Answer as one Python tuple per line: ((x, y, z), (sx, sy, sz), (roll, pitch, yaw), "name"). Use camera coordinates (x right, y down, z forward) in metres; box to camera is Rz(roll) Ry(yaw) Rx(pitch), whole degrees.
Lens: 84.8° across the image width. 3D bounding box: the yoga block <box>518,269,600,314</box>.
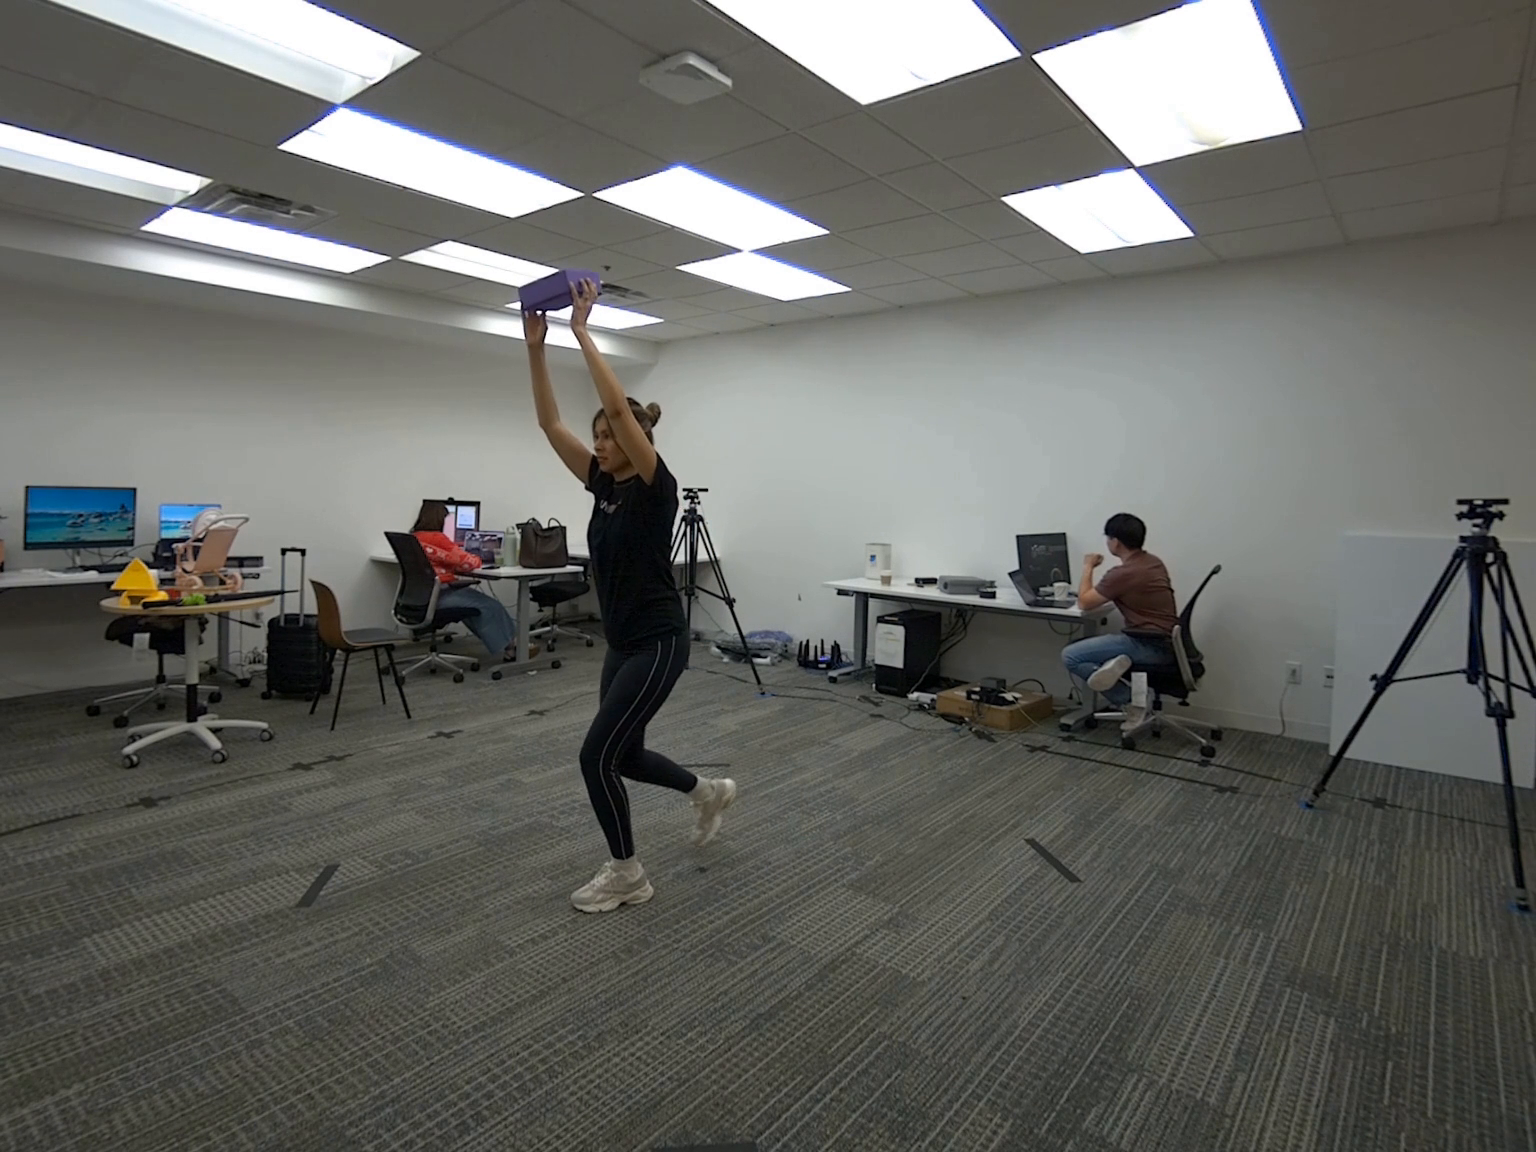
((-0.647, -0.877, 2.625), (0.236, 0.076, 0.146), (-4, 10, 40), "yoga block")
